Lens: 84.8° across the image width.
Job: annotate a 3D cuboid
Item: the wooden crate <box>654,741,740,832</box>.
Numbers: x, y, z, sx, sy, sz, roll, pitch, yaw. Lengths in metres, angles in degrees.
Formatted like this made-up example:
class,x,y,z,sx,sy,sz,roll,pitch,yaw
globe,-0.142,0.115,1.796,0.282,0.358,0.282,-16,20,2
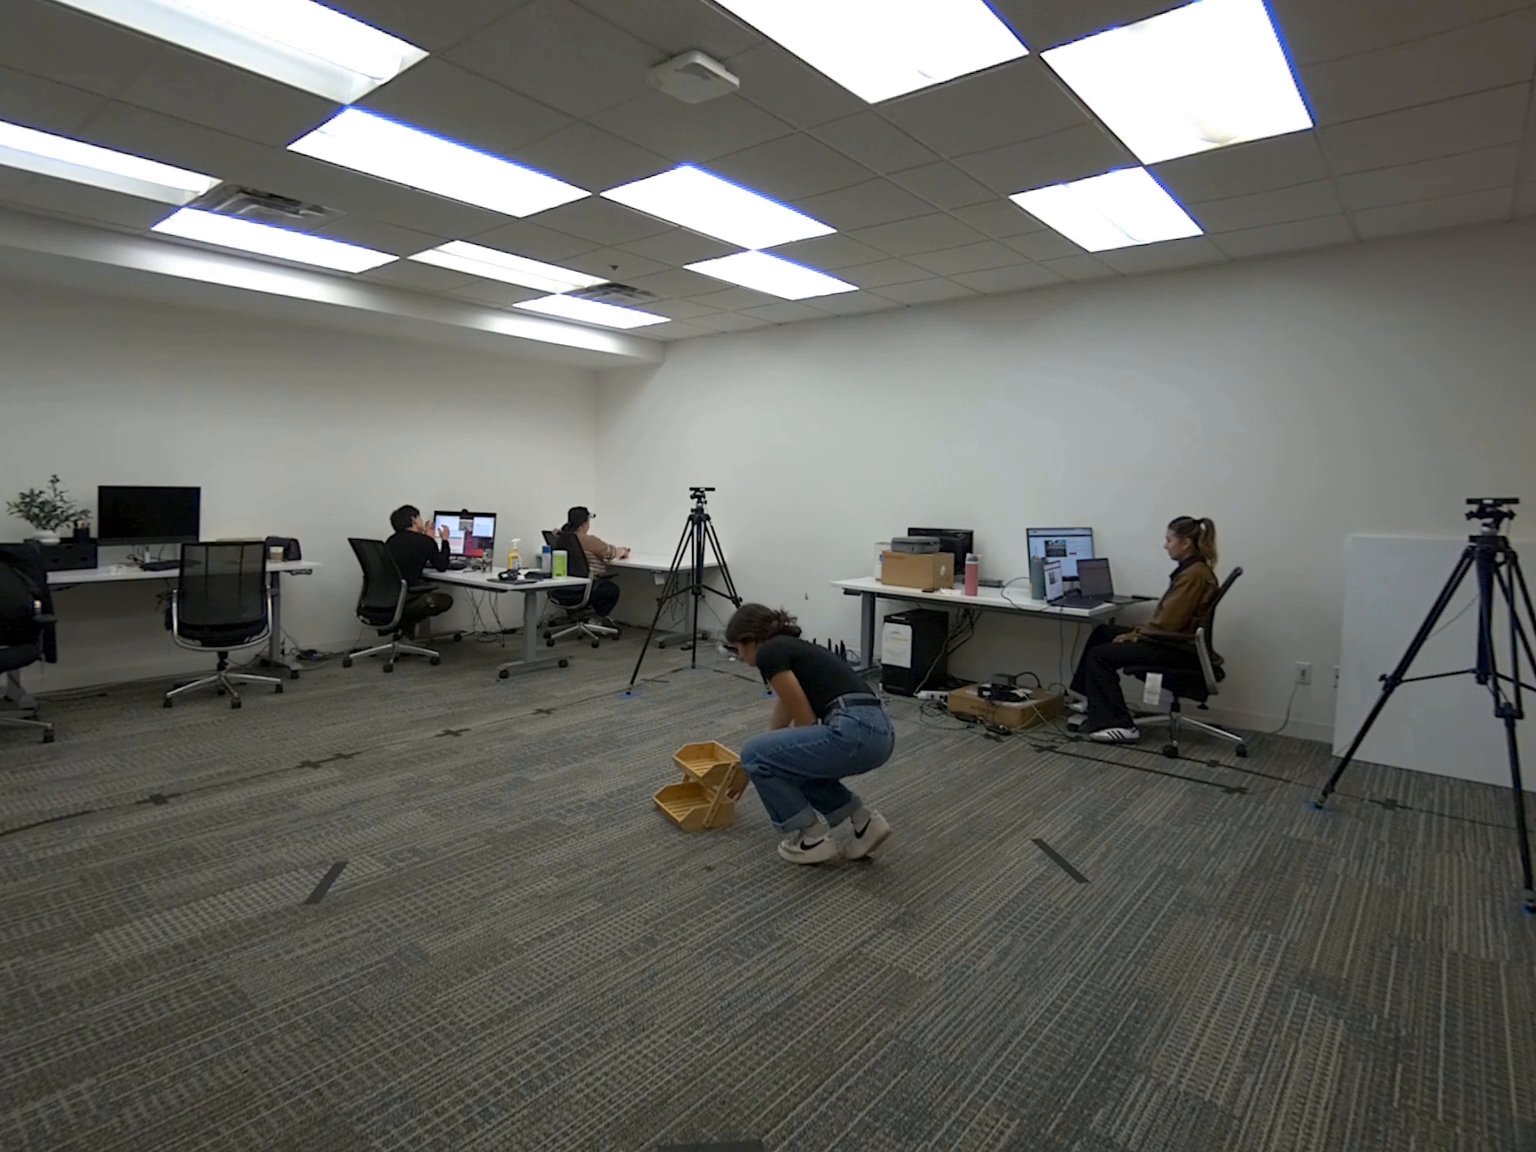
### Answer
class,x,y,z,sx,sy,sz,roll,pitch,yaw
wooden crate,-0.313,0.881,3.623,0.294,0.272,0.334,-2,5,-29
